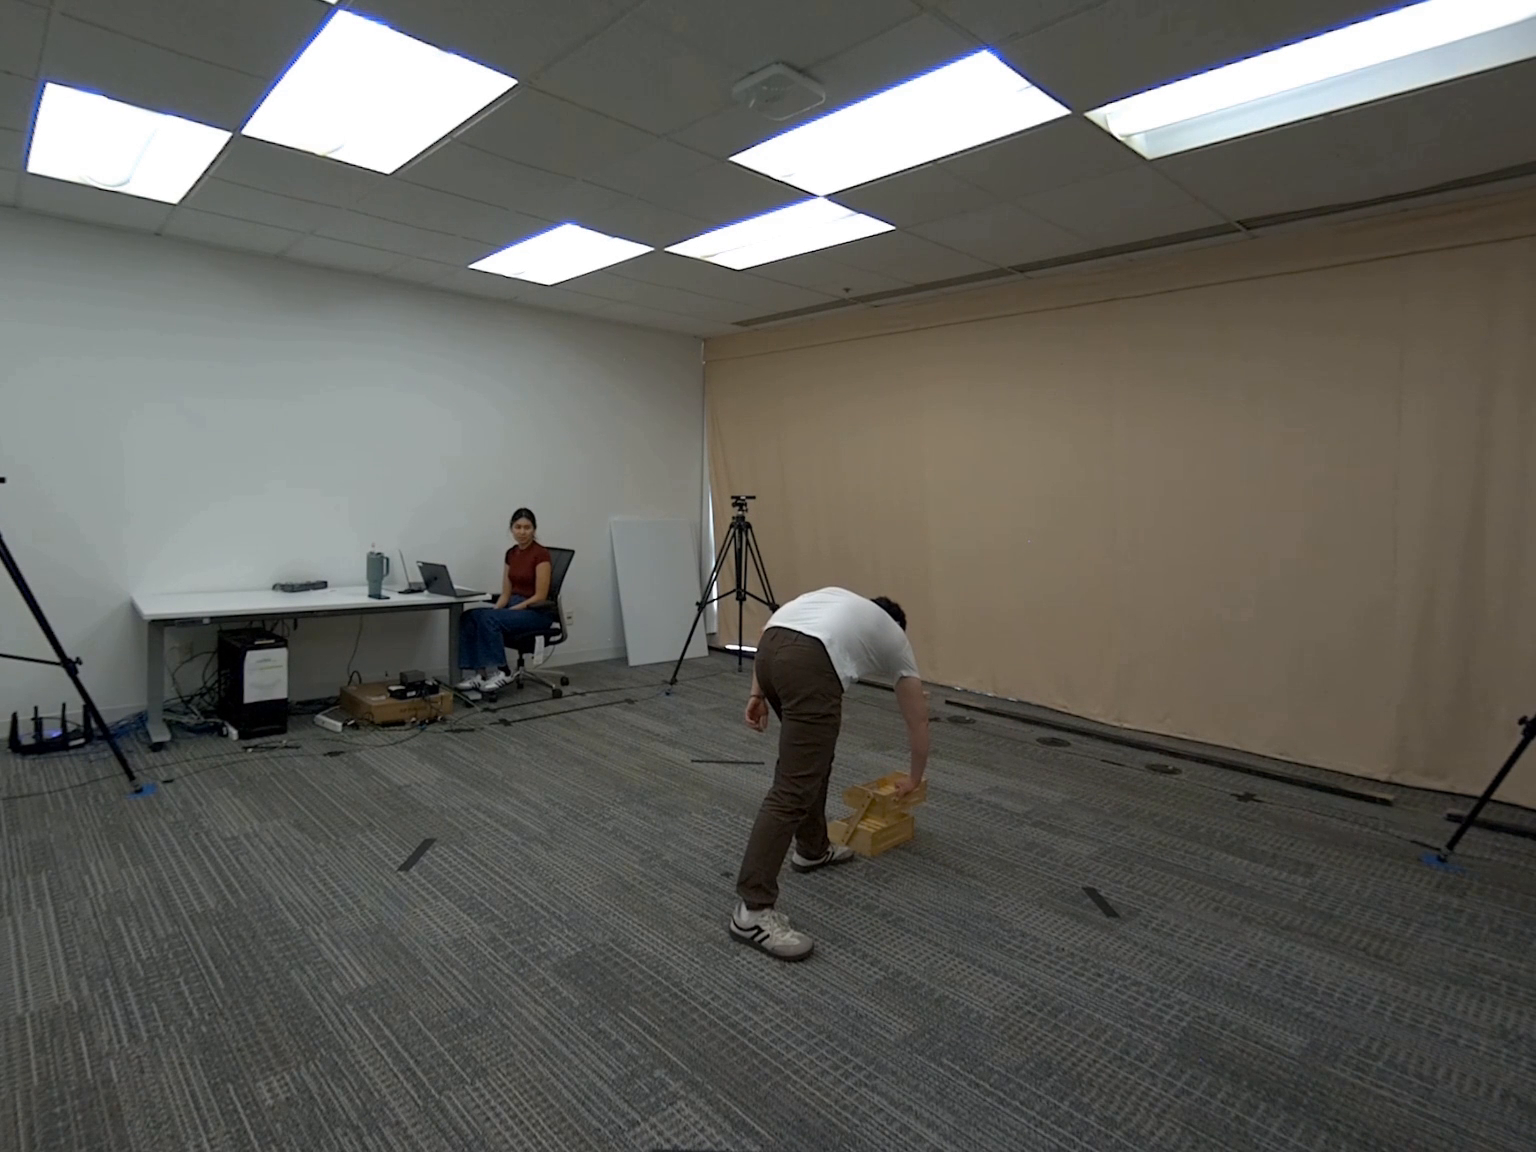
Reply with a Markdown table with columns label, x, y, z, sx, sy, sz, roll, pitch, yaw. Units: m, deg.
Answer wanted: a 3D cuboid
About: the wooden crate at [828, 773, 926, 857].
| label | x | y | z | sx | sy | sz | roll | pitch | yaw |
| --- | --- | --- | --- | --- | --- | --- | --- | --- | --- |
| wooden crate | 0.426 | 0.948 | 3.454 | 0.310 | 0.272 | 0.317 | 6 | 6 | 43 |
